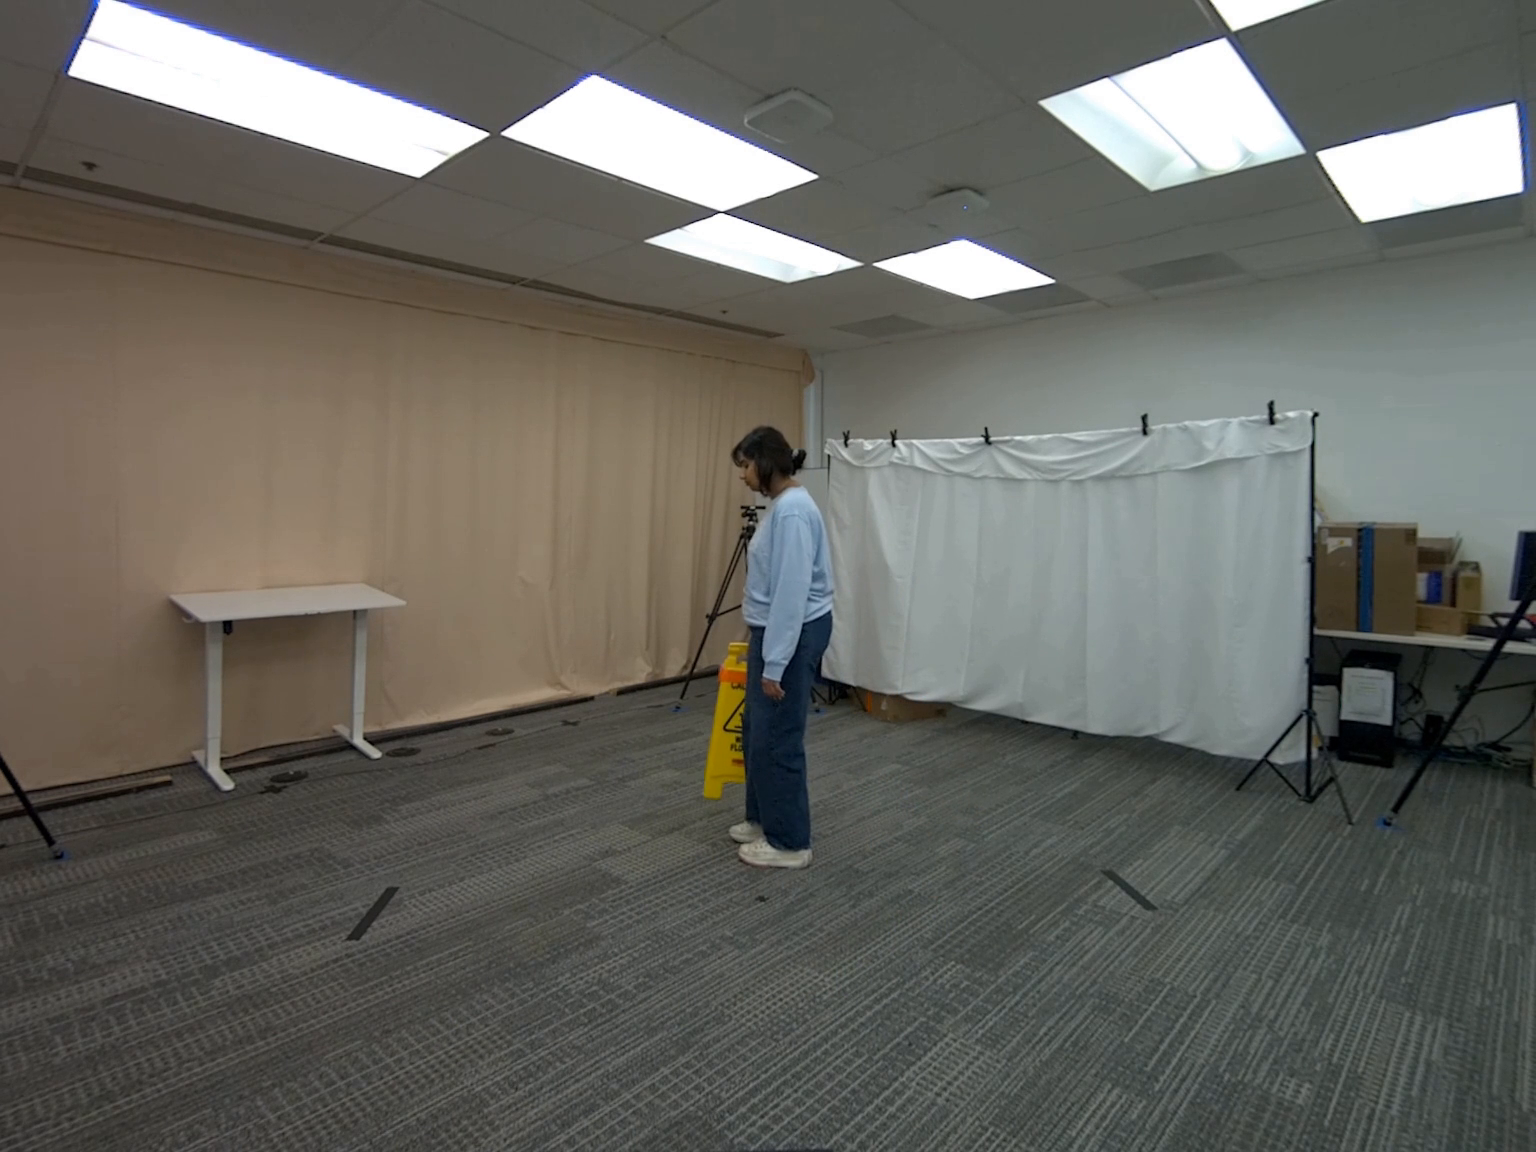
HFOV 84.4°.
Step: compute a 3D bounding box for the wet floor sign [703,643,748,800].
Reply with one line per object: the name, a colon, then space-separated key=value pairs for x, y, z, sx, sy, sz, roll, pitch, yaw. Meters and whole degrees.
wet floor sign: x=-0.104 y=0.622 z=3.676 sx=0.282 sy=0.644 sz=0.290 roll=6 pitch=4 yaw=0
